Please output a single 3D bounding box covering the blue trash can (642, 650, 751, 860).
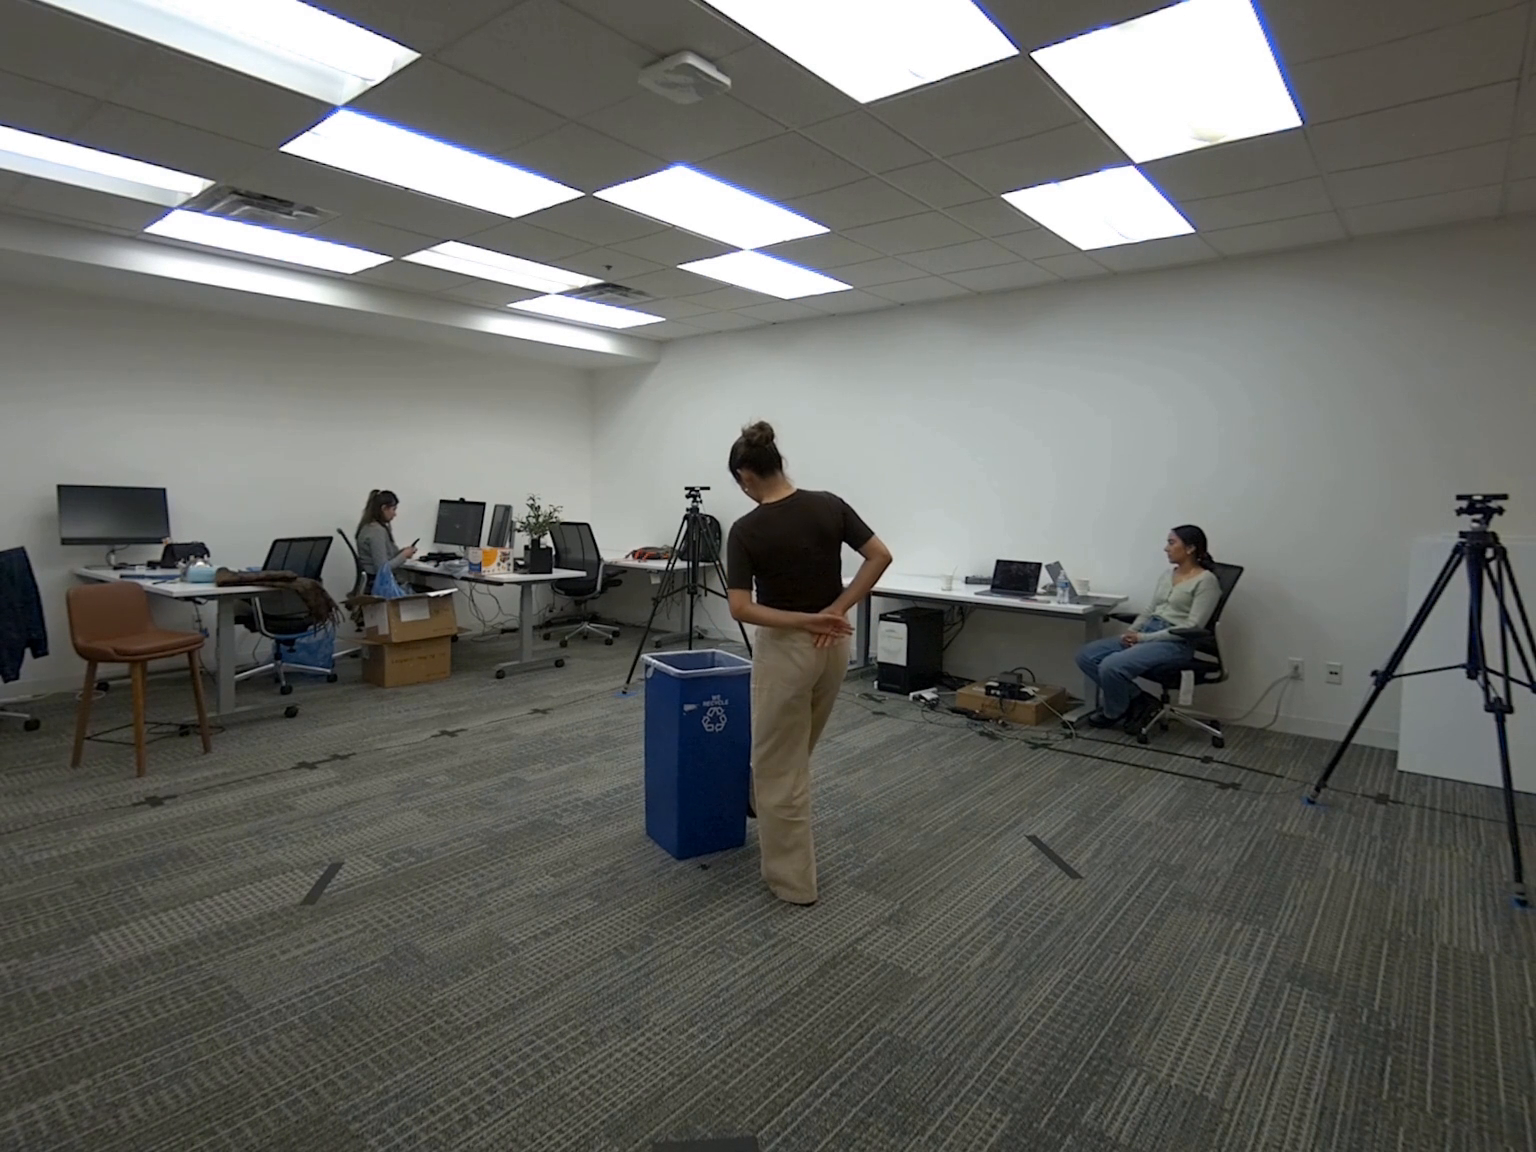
[{"bbox_3d":[-0.292,0.680,3.348,0.368,0.712,0.385,-1,4,-32],"label":"blue trash can"}]
